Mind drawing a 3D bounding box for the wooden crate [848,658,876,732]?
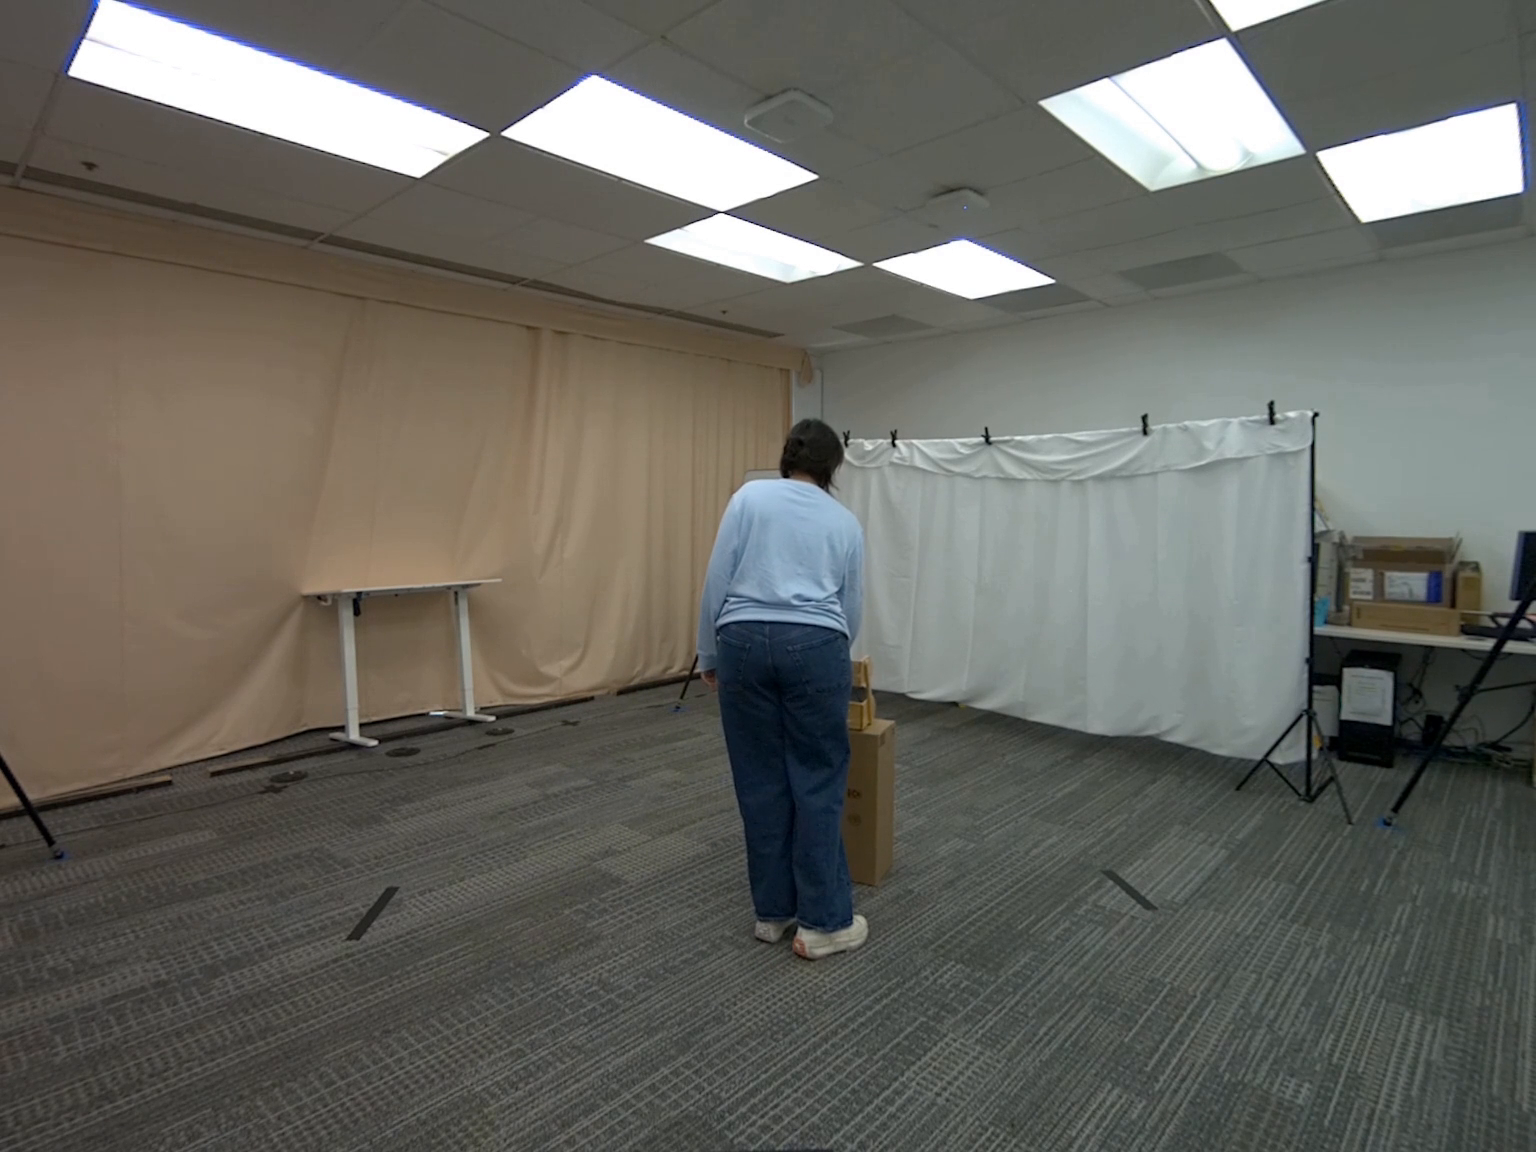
[{"bbox_3d":[0.242,0.414,3.214,0.331,0.273,0.296,2,3,20],"label":"wooden crate"}]
